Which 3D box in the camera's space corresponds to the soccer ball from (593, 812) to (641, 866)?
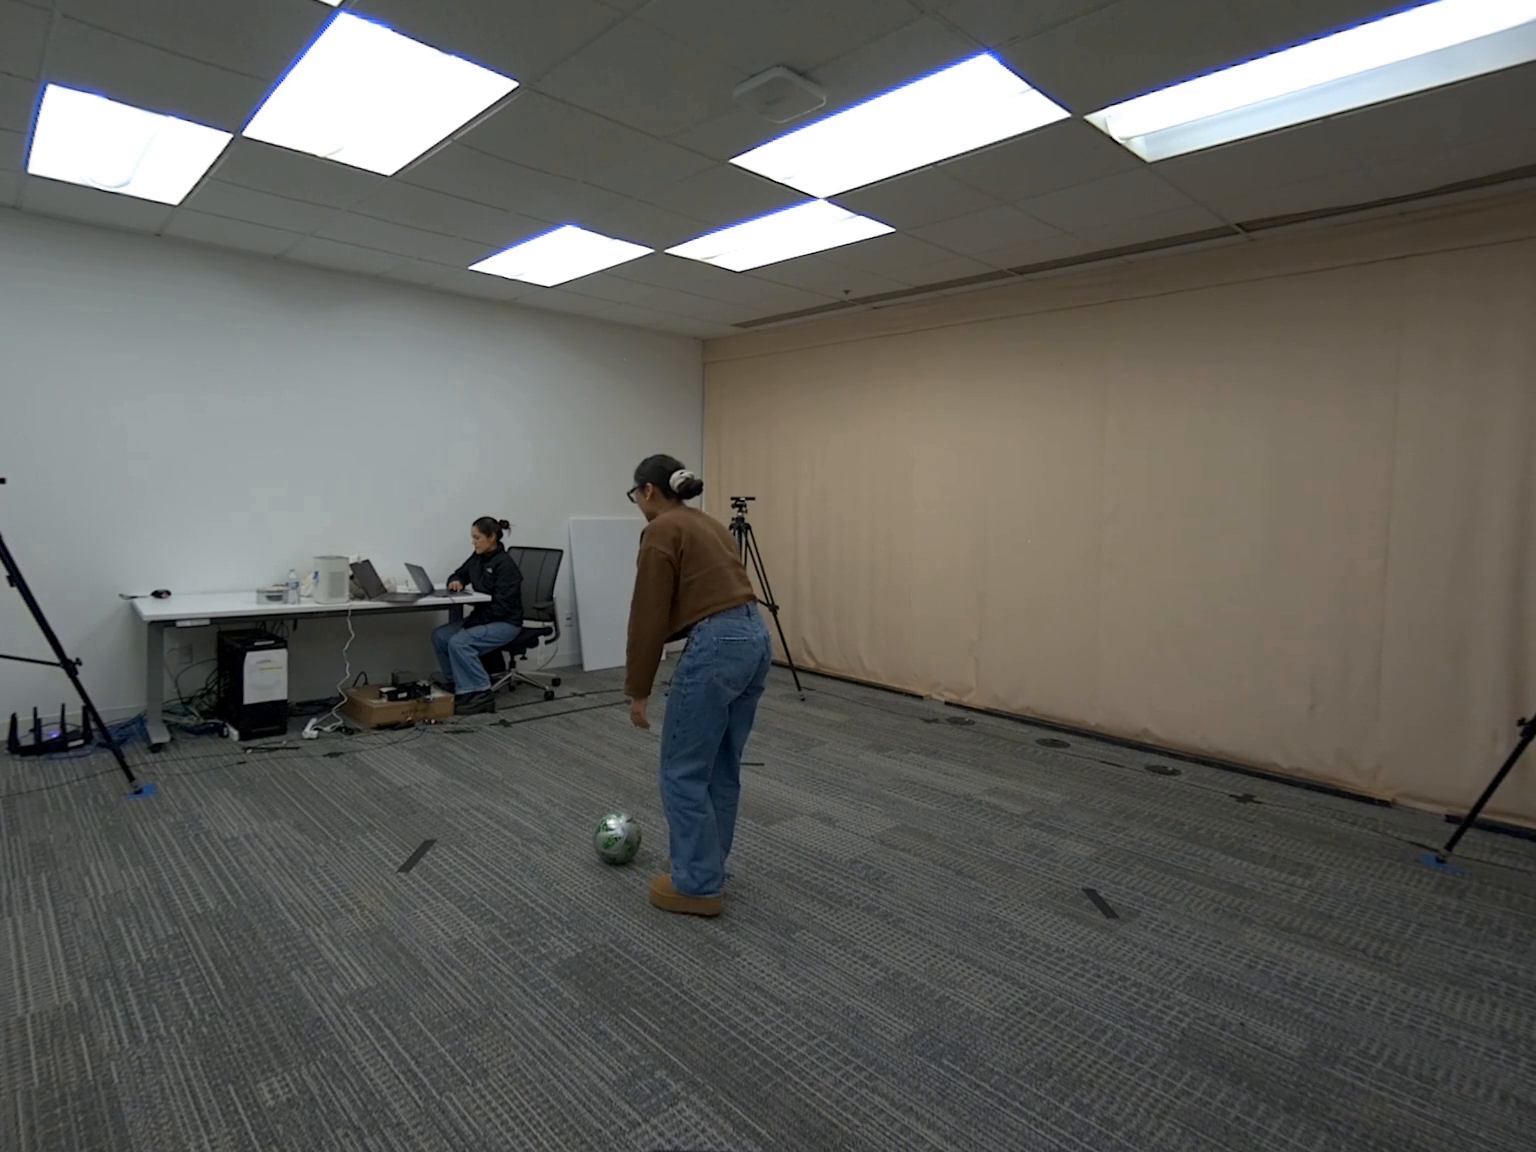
[{"bbox_3d":[-0.579,0.998,3.197,0.187,0.187,0.188,1,4,-1],"label":"soccer ball"}]
